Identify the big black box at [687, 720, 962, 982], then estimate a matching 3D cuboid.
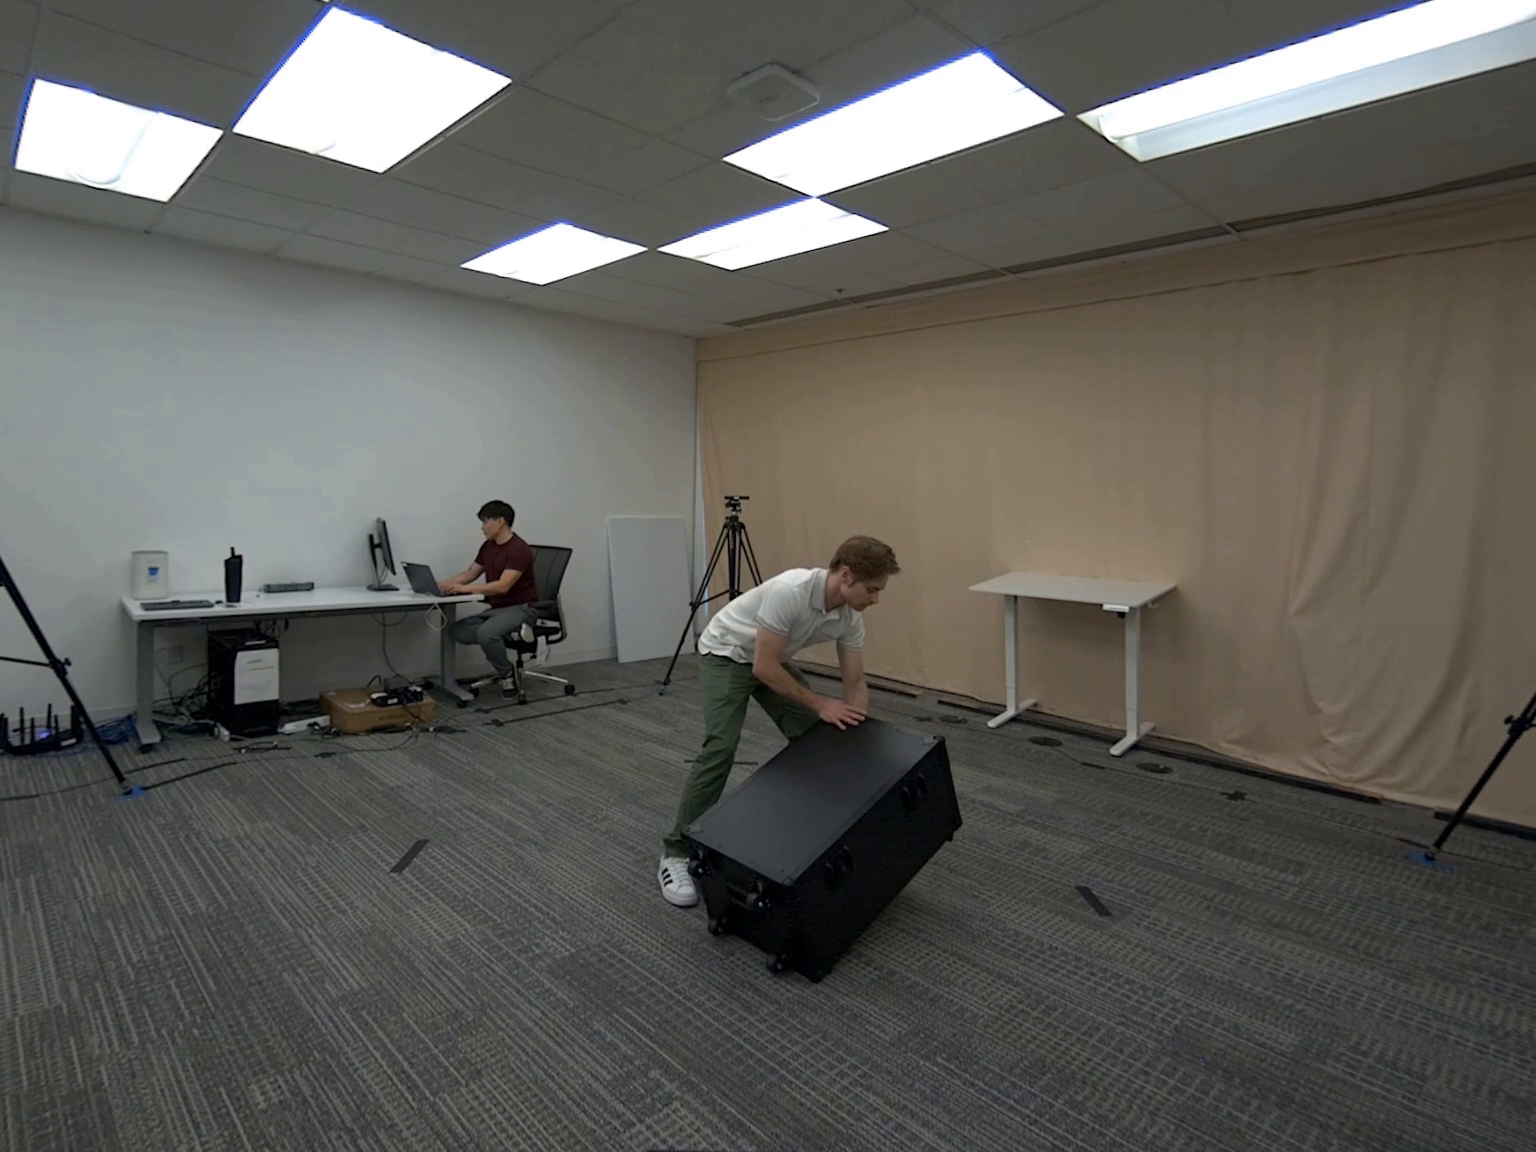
[{"bbox_3d":[0.170,0.854,2.753,0.853,0.390,0.535,-30,24,-37],"label":"big black box"}]
